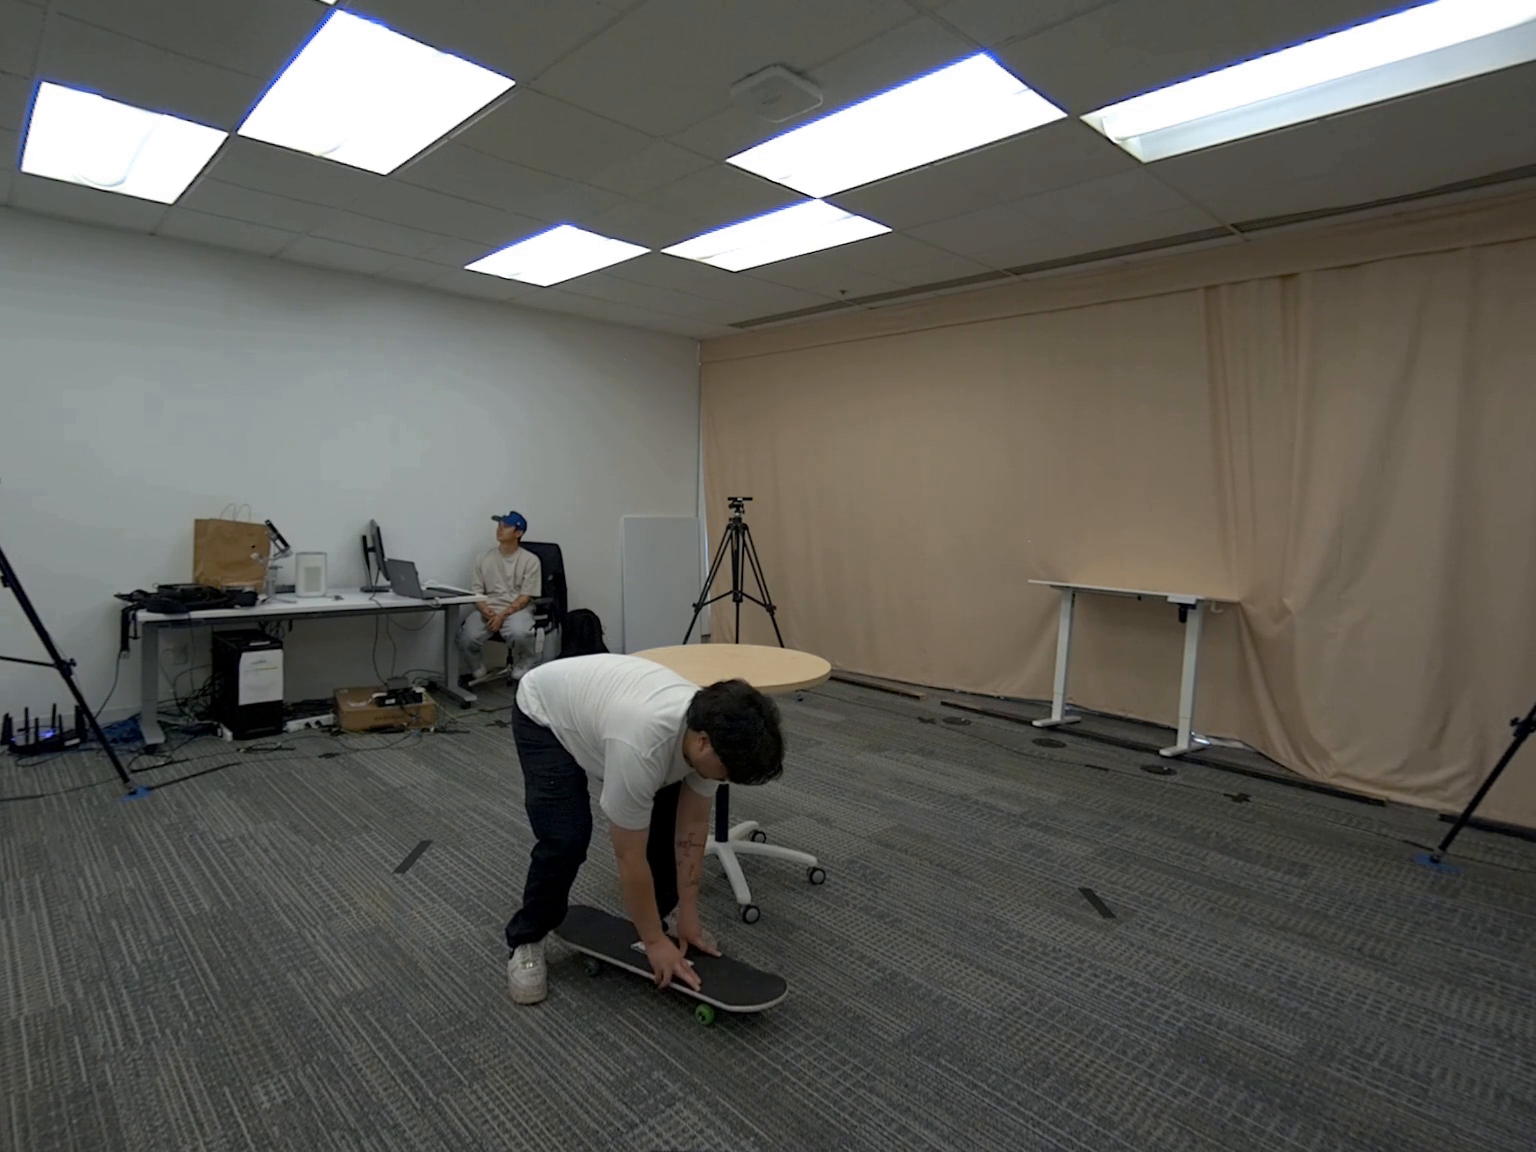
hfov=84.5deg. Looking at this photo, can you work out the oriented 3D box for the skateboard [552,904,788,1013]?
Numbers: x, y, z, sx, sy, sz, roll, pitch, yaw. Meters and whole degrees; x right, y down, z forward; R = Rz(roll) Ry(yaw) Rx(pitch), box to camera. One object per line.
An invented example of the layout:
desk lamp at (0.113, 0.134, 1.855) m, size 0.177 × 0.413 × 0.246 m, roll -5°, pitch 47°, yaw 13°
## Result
skateboard at (-0.305, 1.124, 2.392) m, size 0.803 × 0.110 × 0.189 m, roll 3°, pitch 4°, yaw 31°
